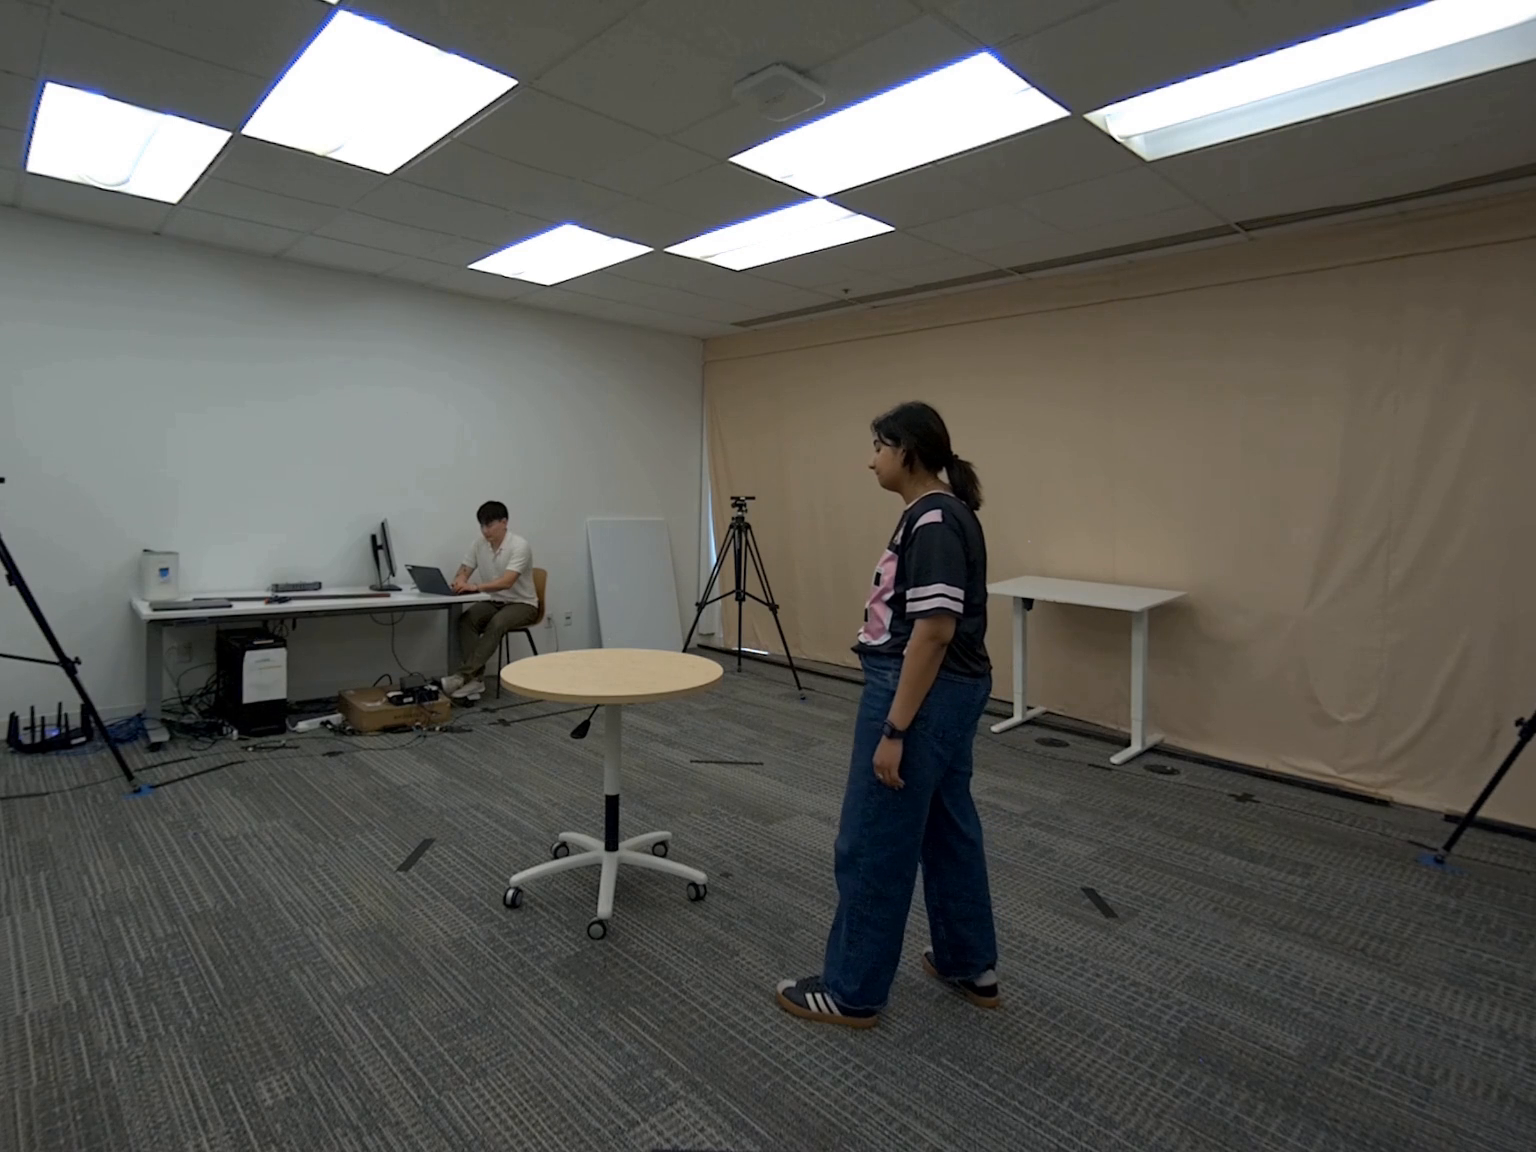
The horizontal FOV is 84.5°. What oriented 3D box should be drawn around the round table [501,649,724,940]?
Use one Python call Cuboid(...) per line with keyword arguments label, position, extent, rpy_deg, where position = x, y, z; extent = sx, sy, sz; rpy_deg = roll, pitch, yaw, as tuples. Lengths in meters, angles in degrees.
Cuboid(label="round table", position=(-0.557, 0.718, 2.945), extent=(0.784, 0.784, 0.788), rpy_deg=(1, 4, -1))
